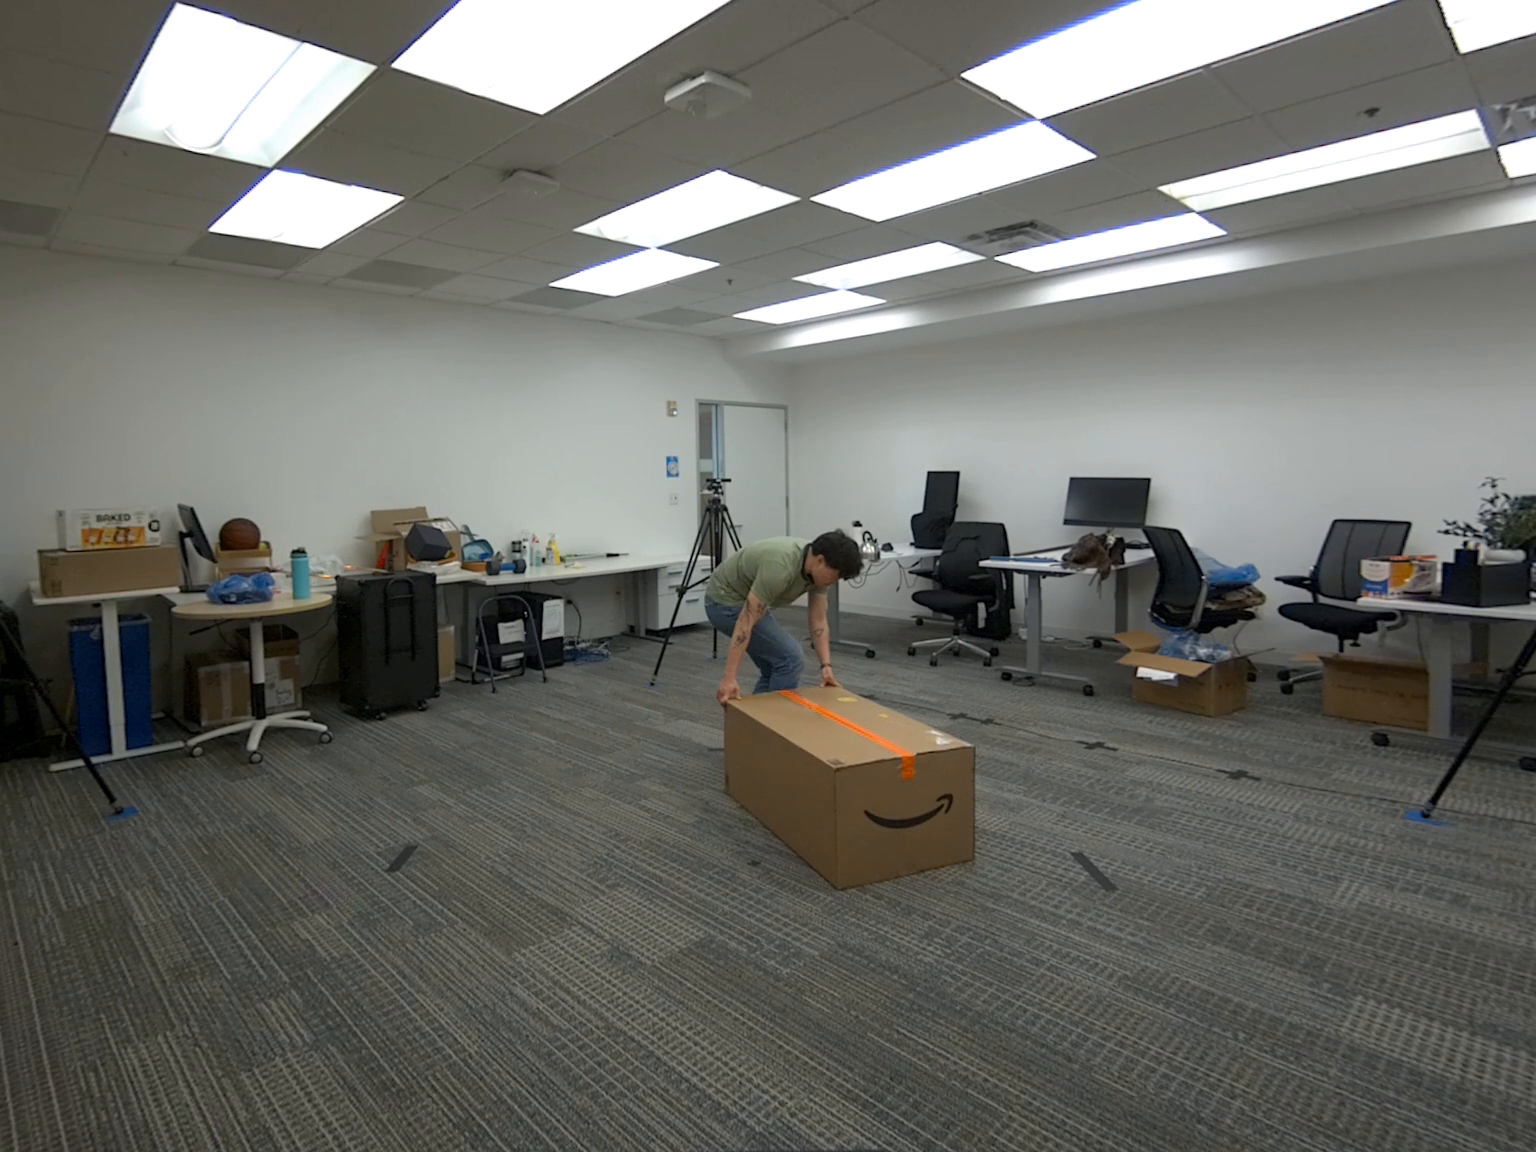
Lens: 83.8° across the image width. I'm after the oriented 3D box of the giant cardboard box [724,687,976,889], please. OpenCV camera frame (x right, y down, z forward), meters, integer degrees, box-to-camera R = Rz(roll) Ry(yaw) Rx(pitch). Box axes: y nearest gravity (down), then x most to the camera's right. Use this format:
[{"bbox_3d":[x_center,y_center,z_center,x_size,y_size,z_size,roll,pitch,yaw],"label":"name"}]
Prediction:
[{"bbox_3d":[0.275,0.785,3.441,0.566,0.425,1.050,-3,6,-24],"label":"giant cardboard box"}]
